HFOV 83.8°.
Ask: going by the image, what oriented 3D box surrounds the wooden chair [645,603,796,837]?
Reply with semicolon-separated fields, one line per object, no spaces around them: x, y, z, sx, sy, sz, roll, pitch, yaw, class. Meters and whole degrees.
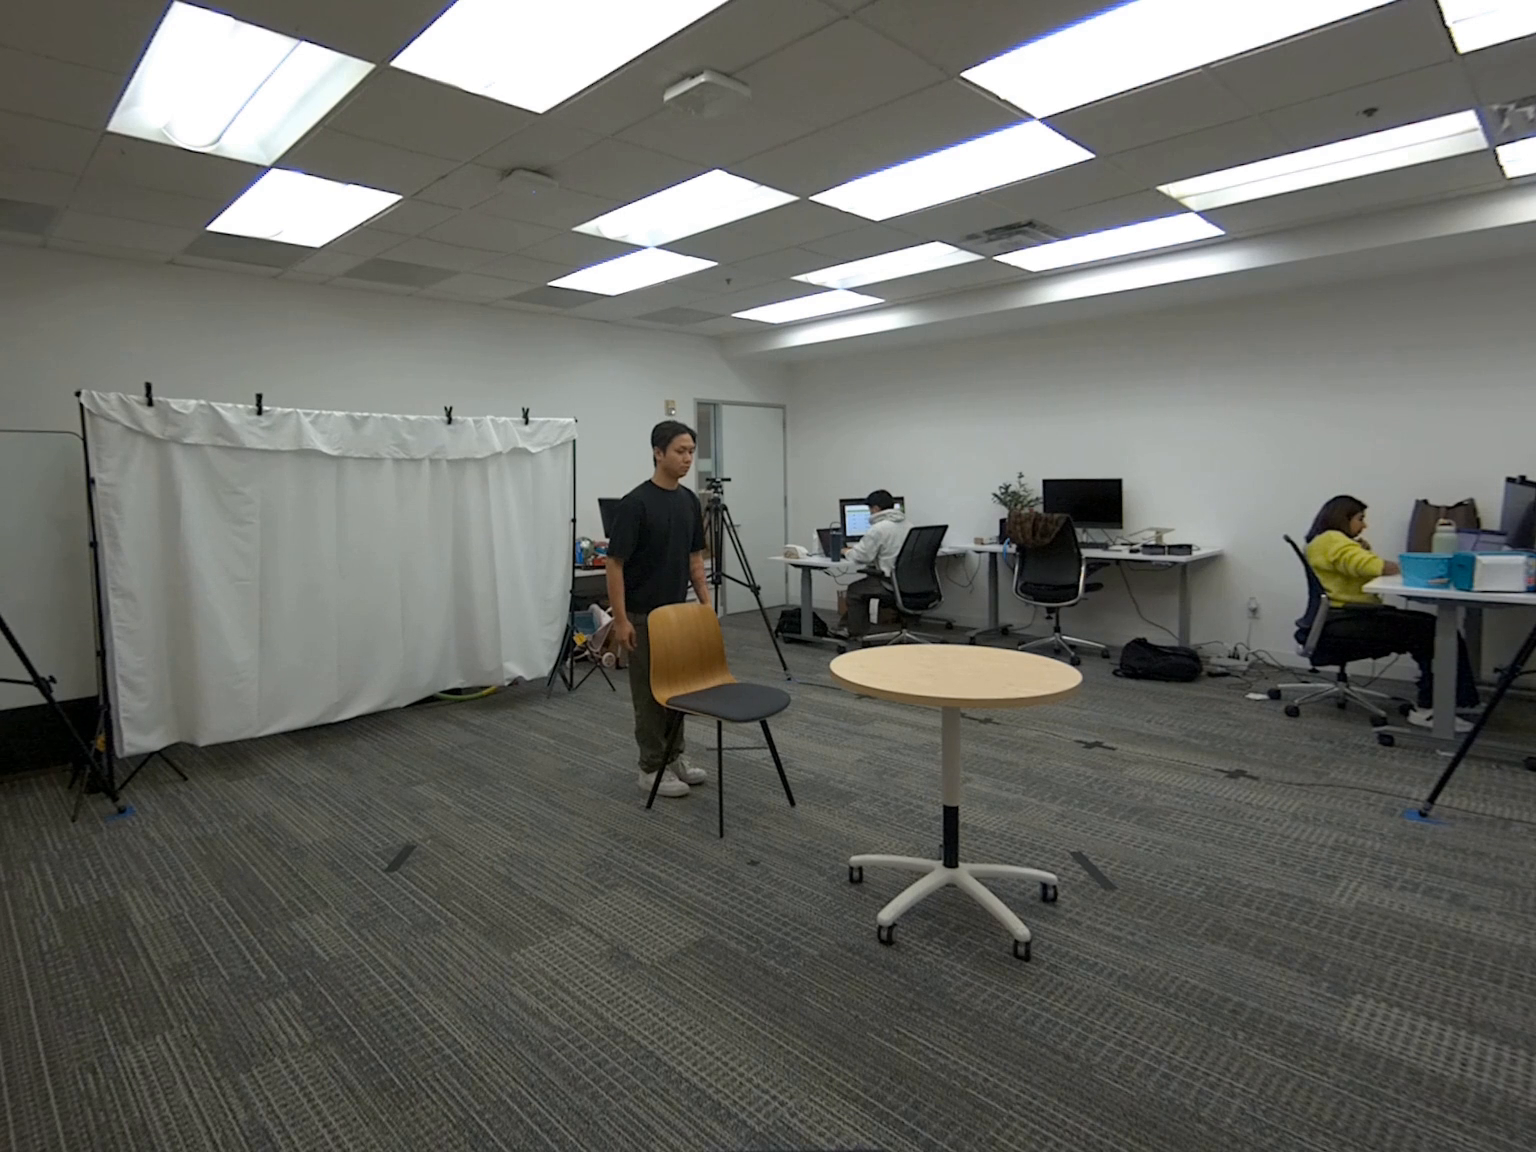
-0.199;0.559;3.596;0.537;0.877;0.465;-4;1;43;wooden chair
